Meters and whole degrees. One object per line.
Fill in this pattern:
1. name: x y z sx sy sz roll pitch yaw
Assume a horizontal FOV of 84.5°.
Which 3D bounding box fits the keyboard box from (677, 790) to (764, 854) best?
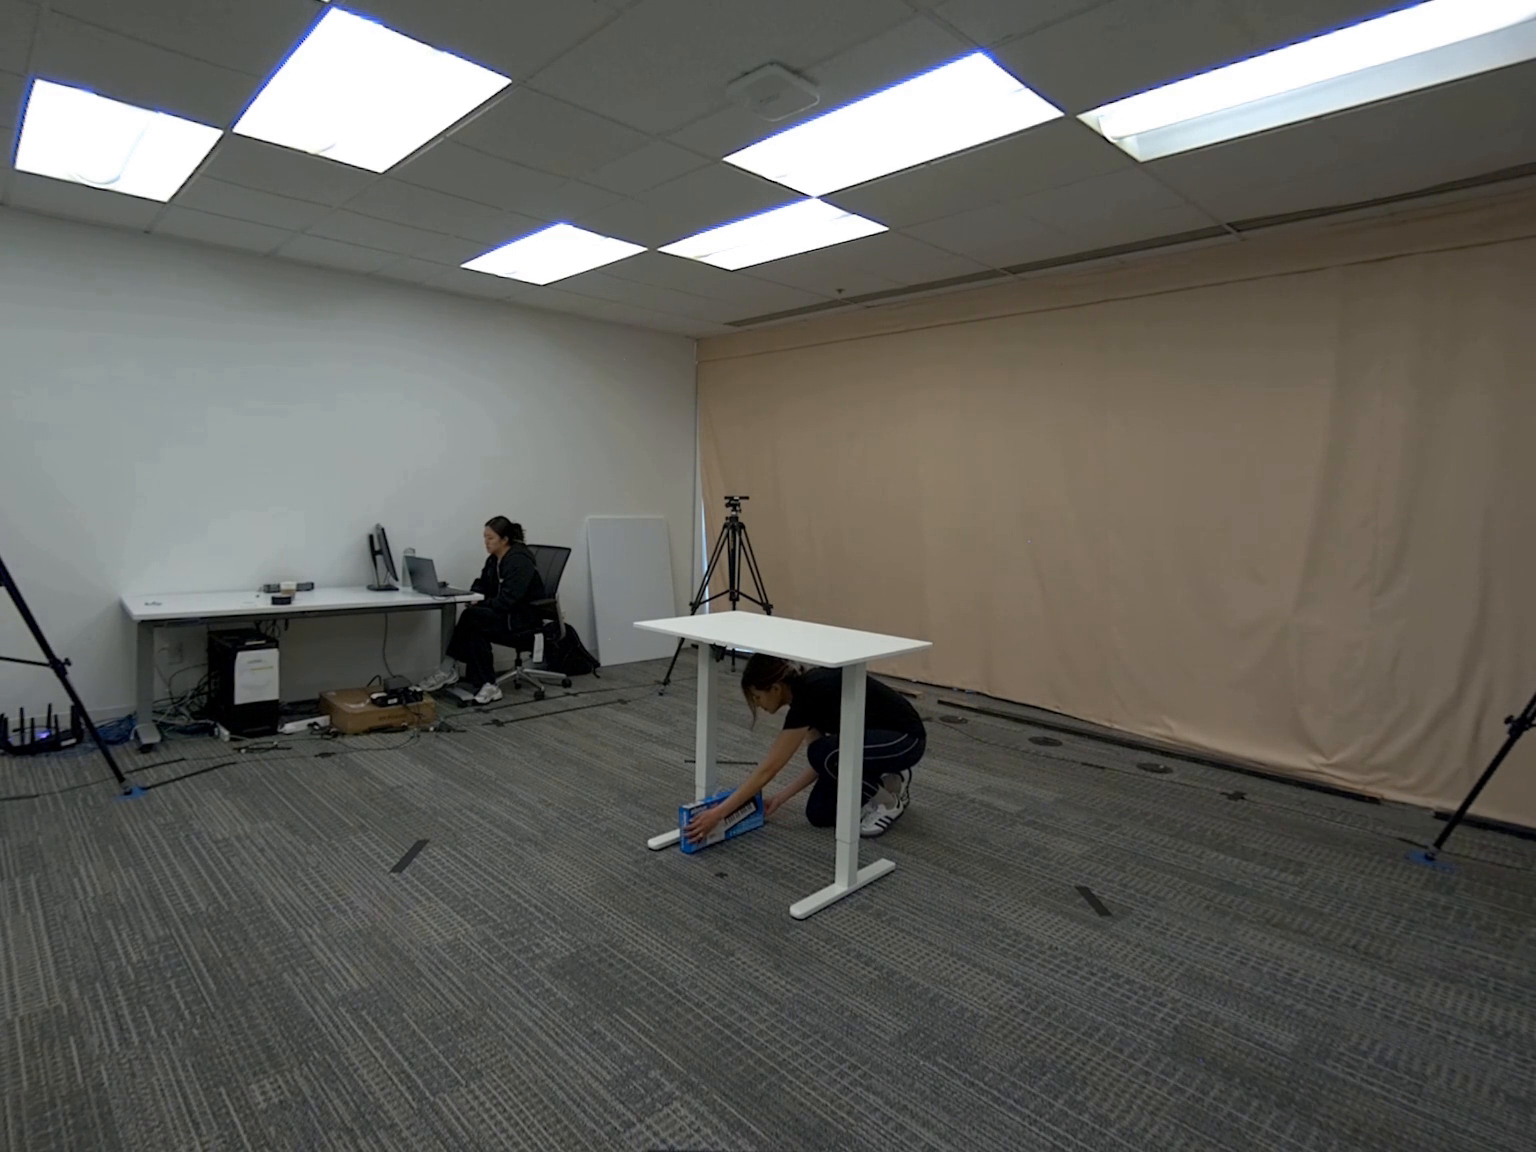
1. keyboard box: -0.199 0.988 3.441 0.060 0.176 0.427 -3 0 41
